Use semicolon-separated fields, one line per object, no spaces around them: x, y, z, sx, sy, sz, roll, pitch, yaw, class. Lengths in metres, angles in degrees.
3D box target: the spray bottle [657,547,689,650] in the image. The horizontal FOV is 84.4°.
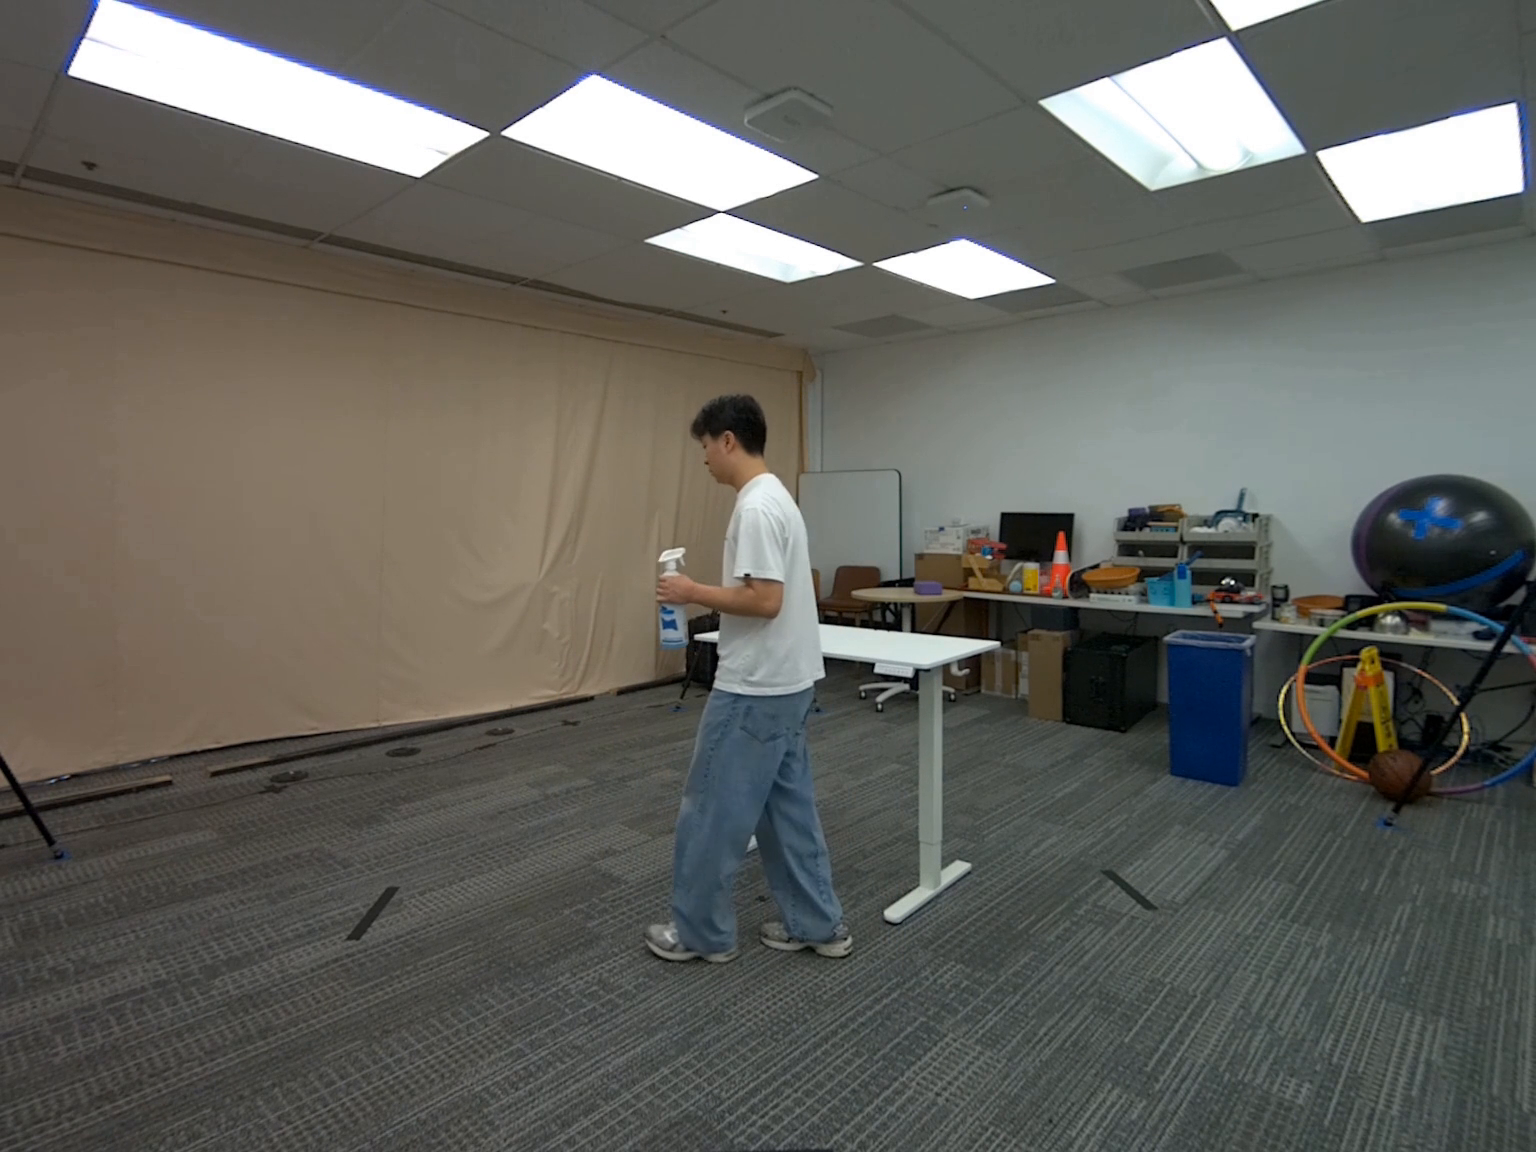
-0.285;0.074;2.545;0.089;0.295;0.088;-2;9;-9;spray bottle
